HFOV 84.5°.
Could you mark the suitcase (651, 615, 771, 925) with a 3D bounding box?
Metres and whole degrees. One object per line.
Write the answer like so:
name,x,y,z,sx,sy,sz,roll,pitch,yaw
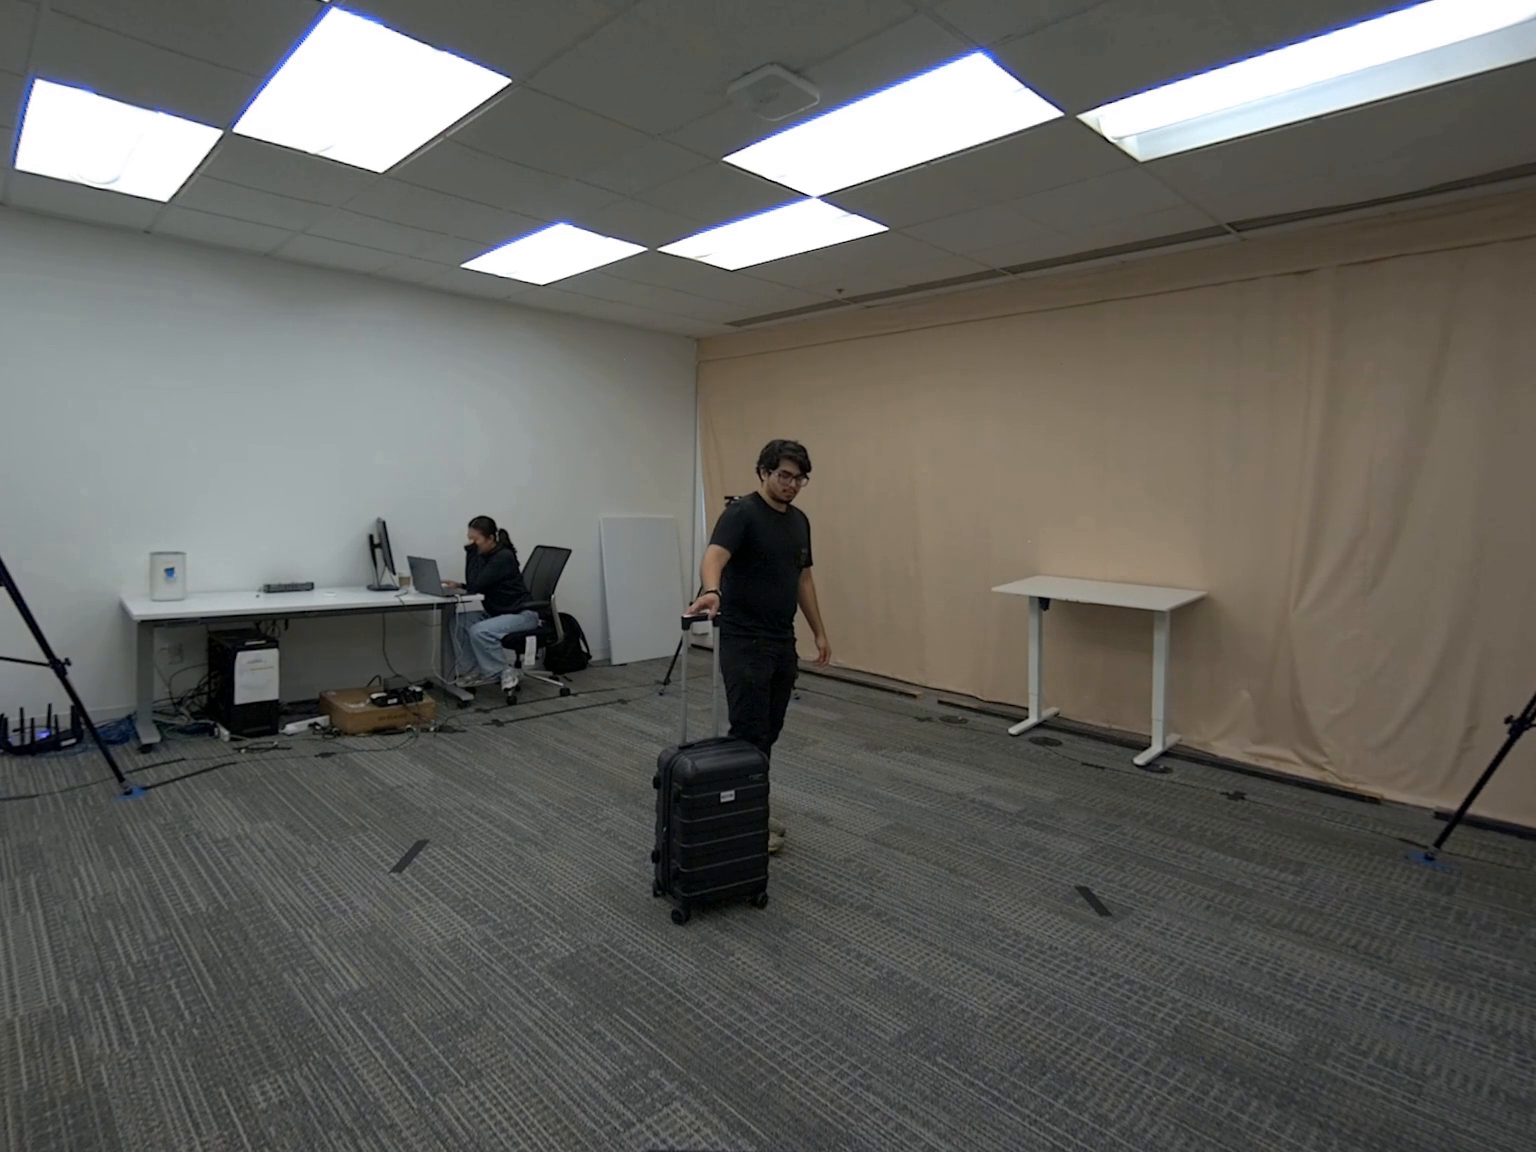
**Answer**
suitcase,-0.190,0.653,2.869,0.377,0.975,0.263,-1,6,-28
